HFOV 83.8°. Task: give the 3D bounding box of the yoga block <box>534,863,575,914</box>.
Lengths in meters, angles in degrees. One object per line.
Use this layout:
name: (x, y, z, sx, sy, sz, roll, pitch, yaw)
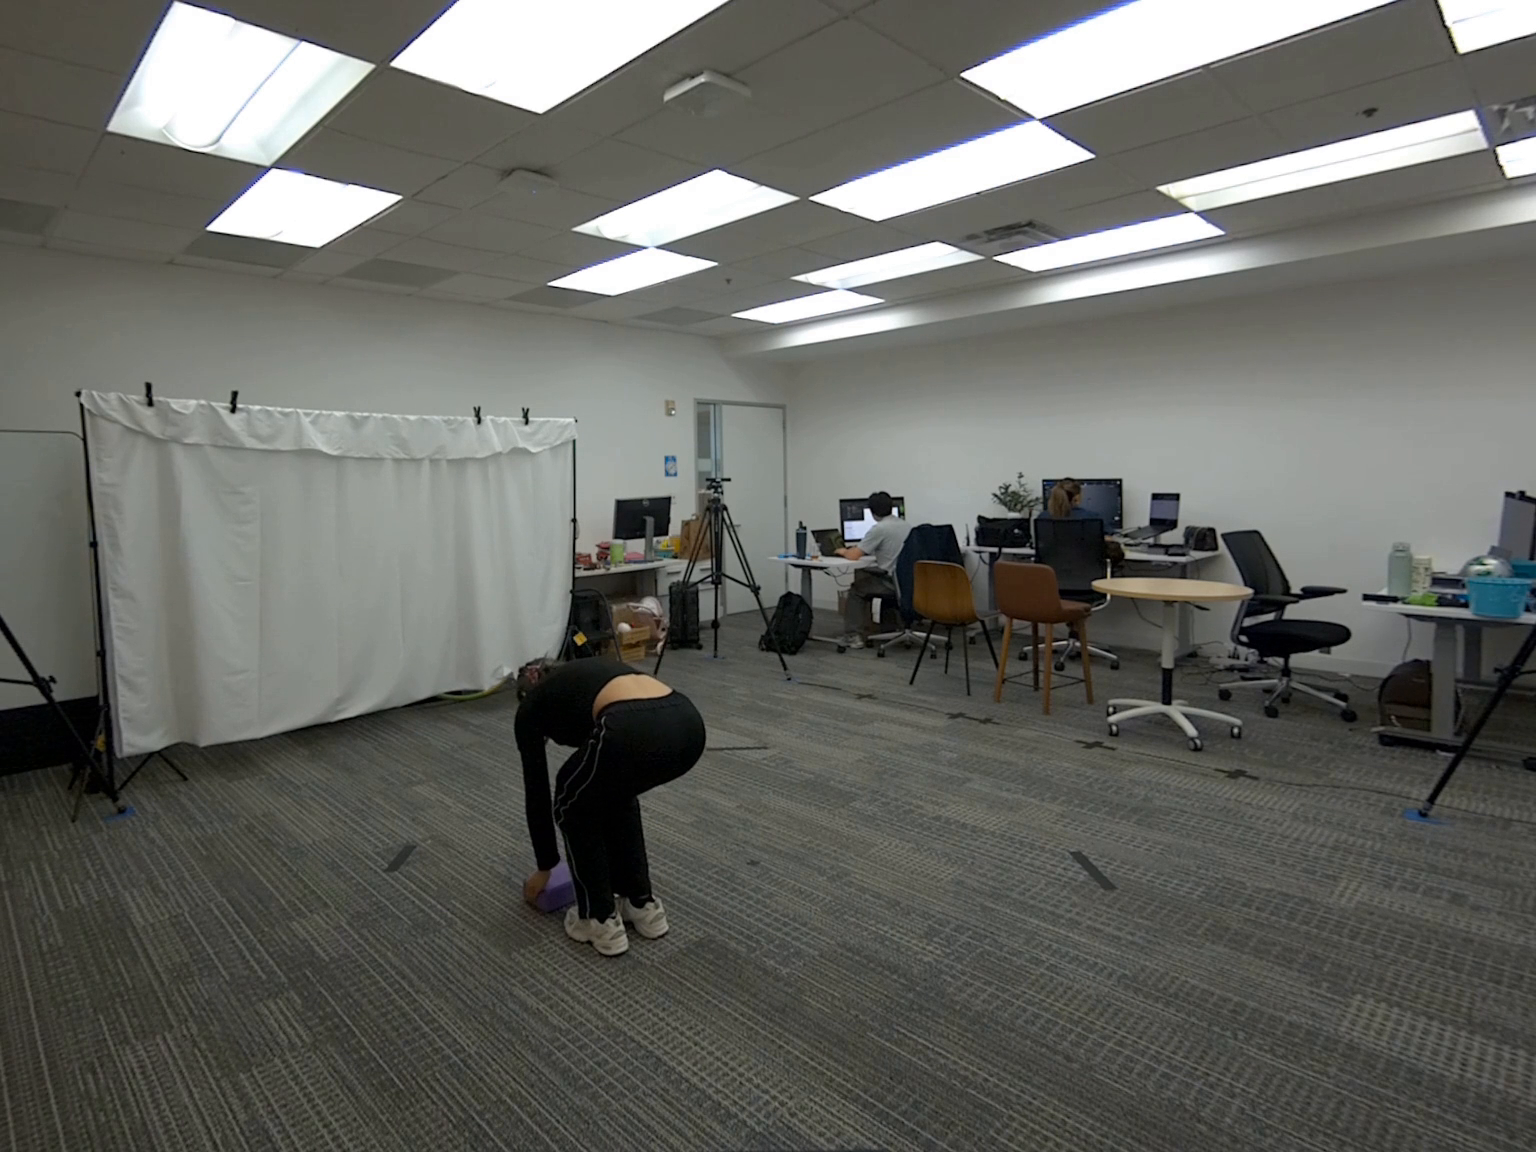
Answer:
yoga block: (-0.687, 1.040, 2.885, 0.153, 0.076, 0.223, 2, 6, 43)
